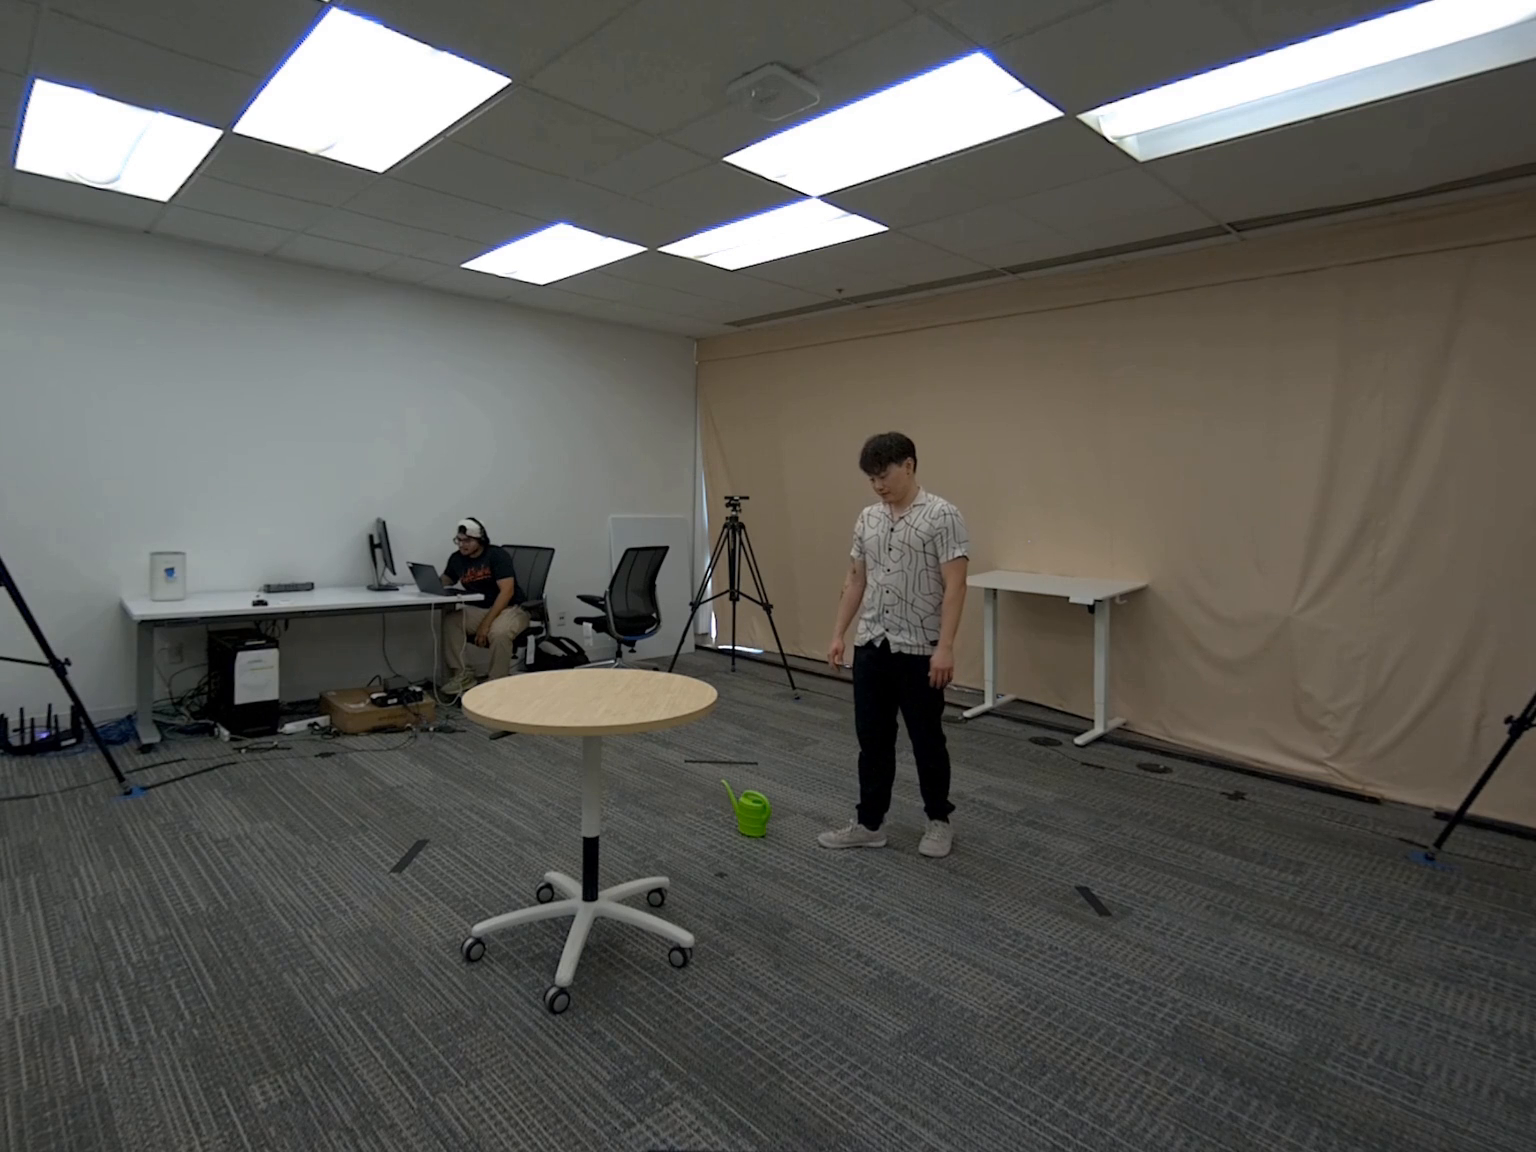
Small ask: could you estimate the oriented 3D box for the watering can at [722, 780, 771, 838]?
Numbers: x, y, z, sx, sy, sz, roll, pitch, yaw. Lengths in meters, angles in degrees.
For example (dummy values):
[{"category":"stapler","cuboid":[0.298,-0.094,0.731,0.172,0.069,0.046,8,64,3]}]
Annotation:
[{"category":"watering can","cuboid":[-0.093,0.973,3.543,0.096,0.176,0.285,0,5,-36]}]
